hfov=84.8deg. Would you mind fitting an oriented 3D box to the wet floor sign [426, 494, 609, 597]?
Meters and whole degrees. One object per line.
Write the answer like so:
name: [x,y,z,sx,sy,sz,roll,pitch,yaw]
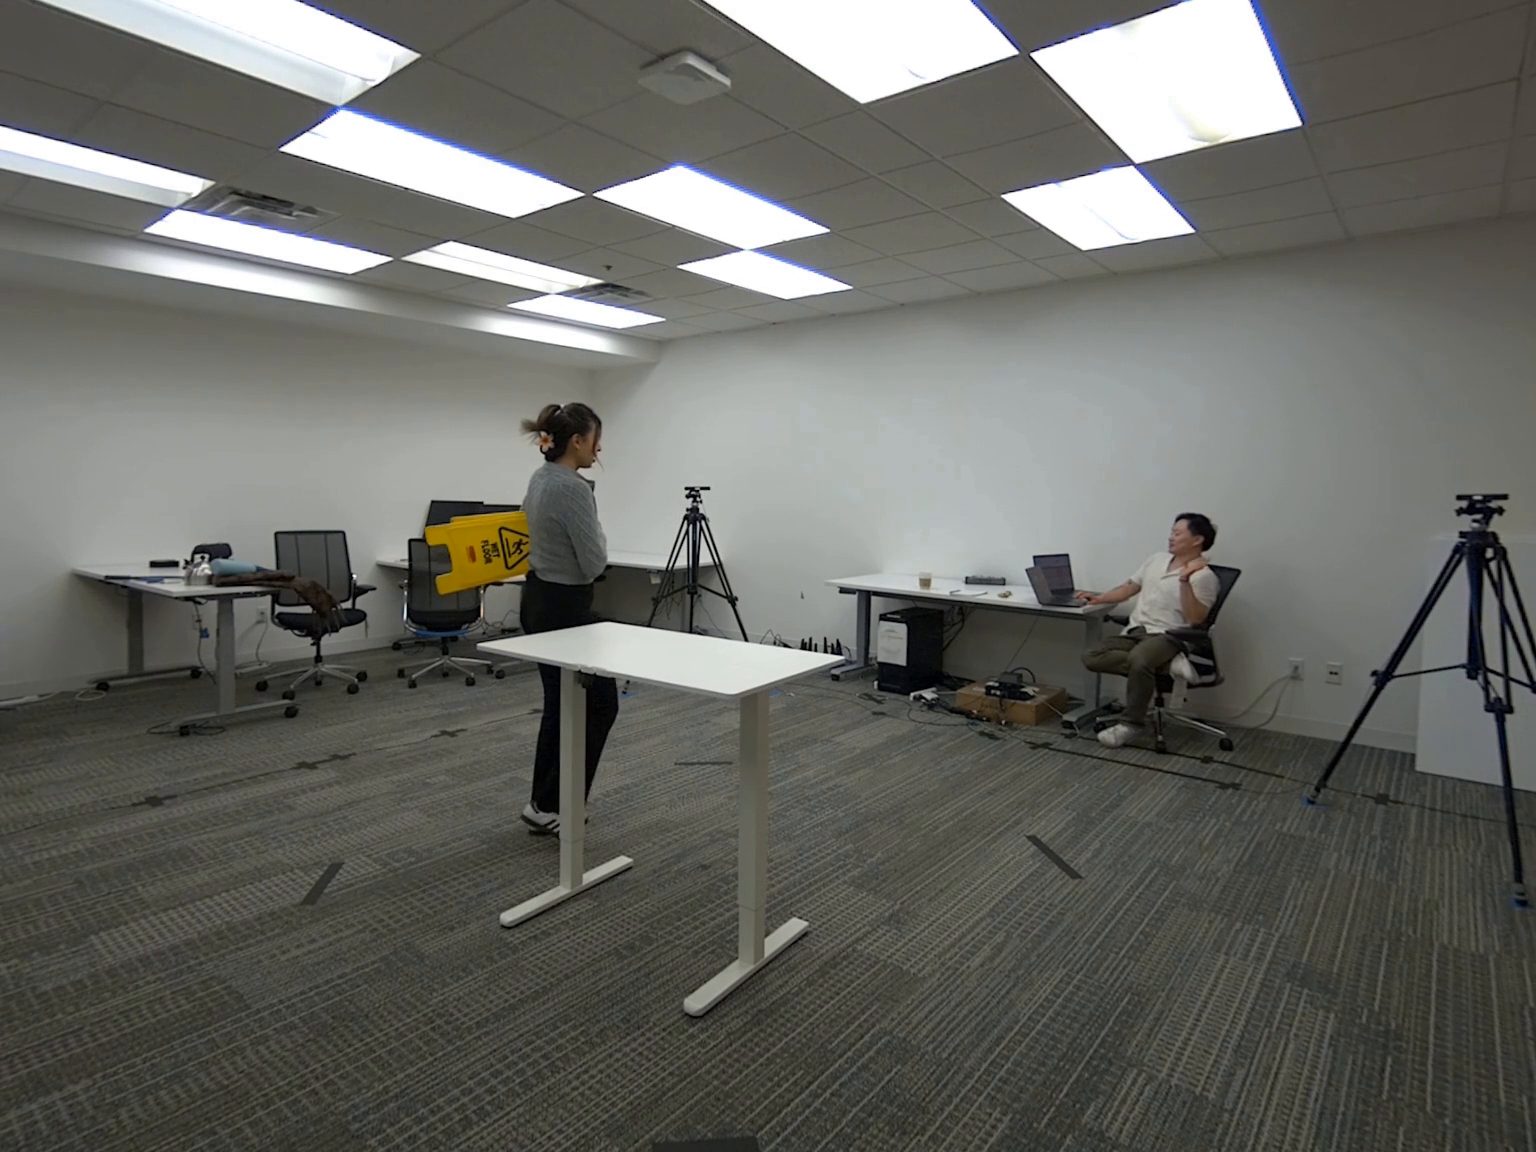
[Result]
wet floor sign: [-1.038,-0.137,3.527,0.649,0.280,0.291,-10,8,4]
